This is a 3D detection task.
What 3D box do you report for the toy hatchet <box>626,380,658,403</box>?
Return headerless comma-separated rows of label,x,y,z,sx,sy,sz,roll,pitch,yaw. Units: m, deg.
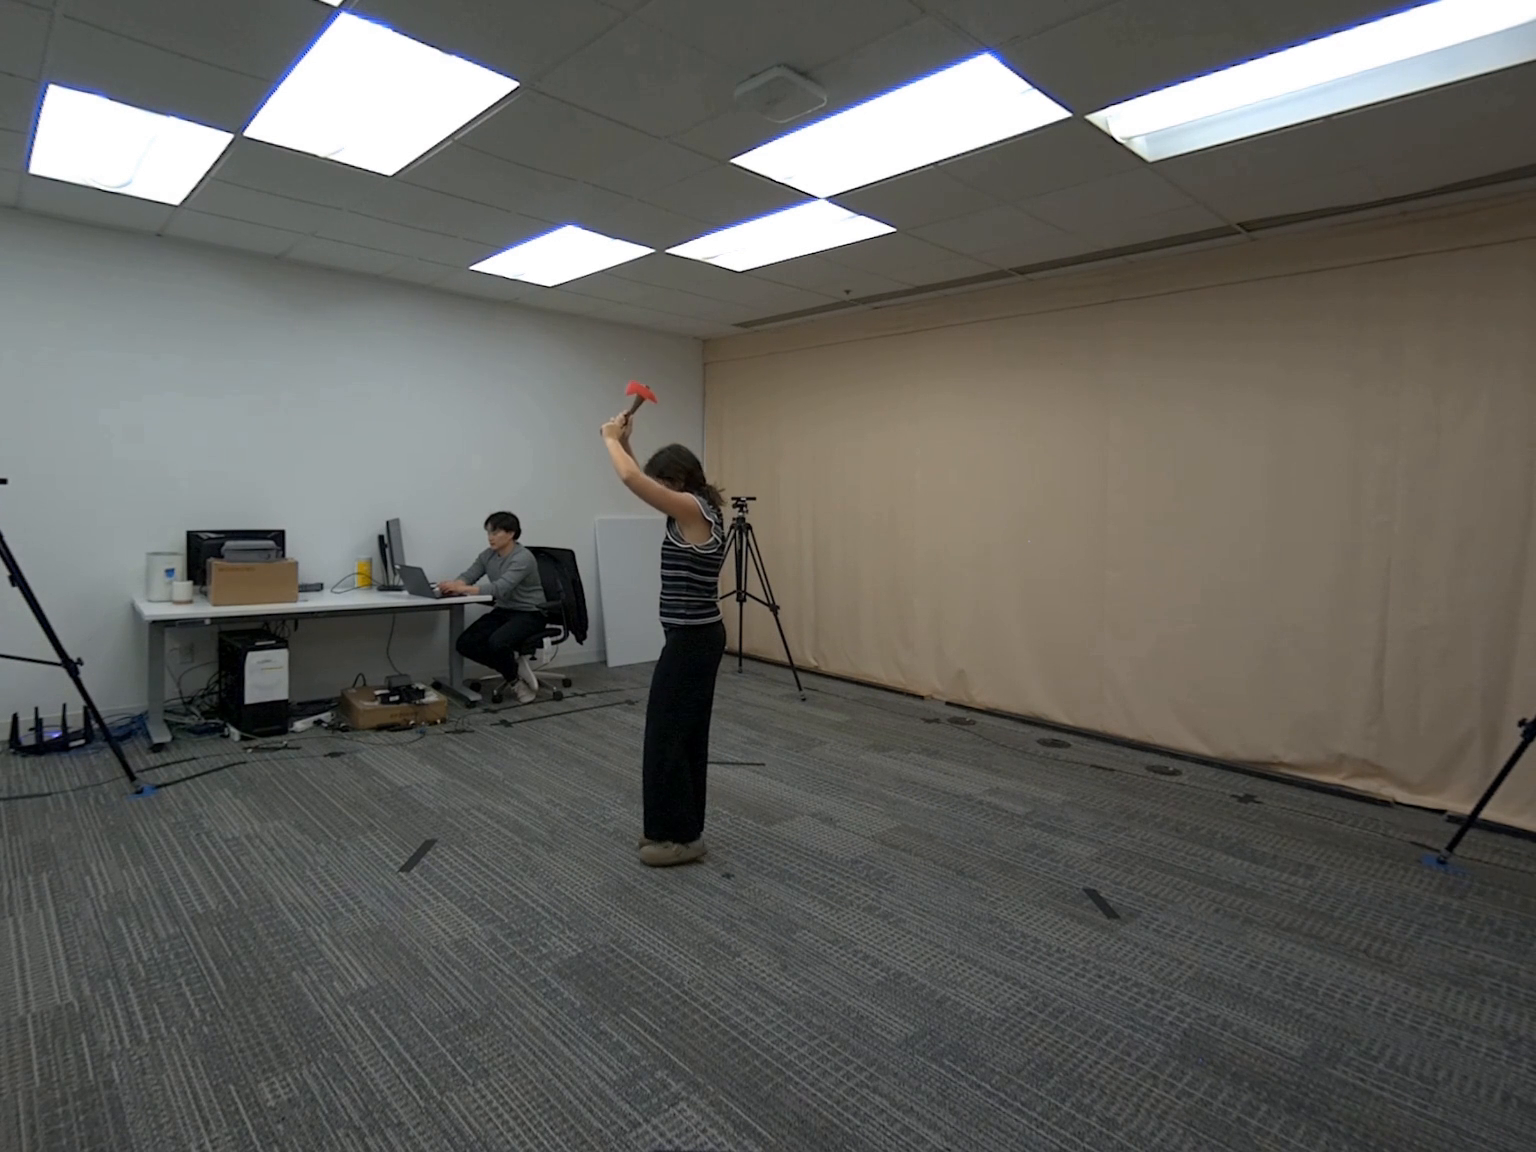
toy hatchet,-0.556,-0.641,3.226,0.269,0.129,0.030,-39,19,-18
